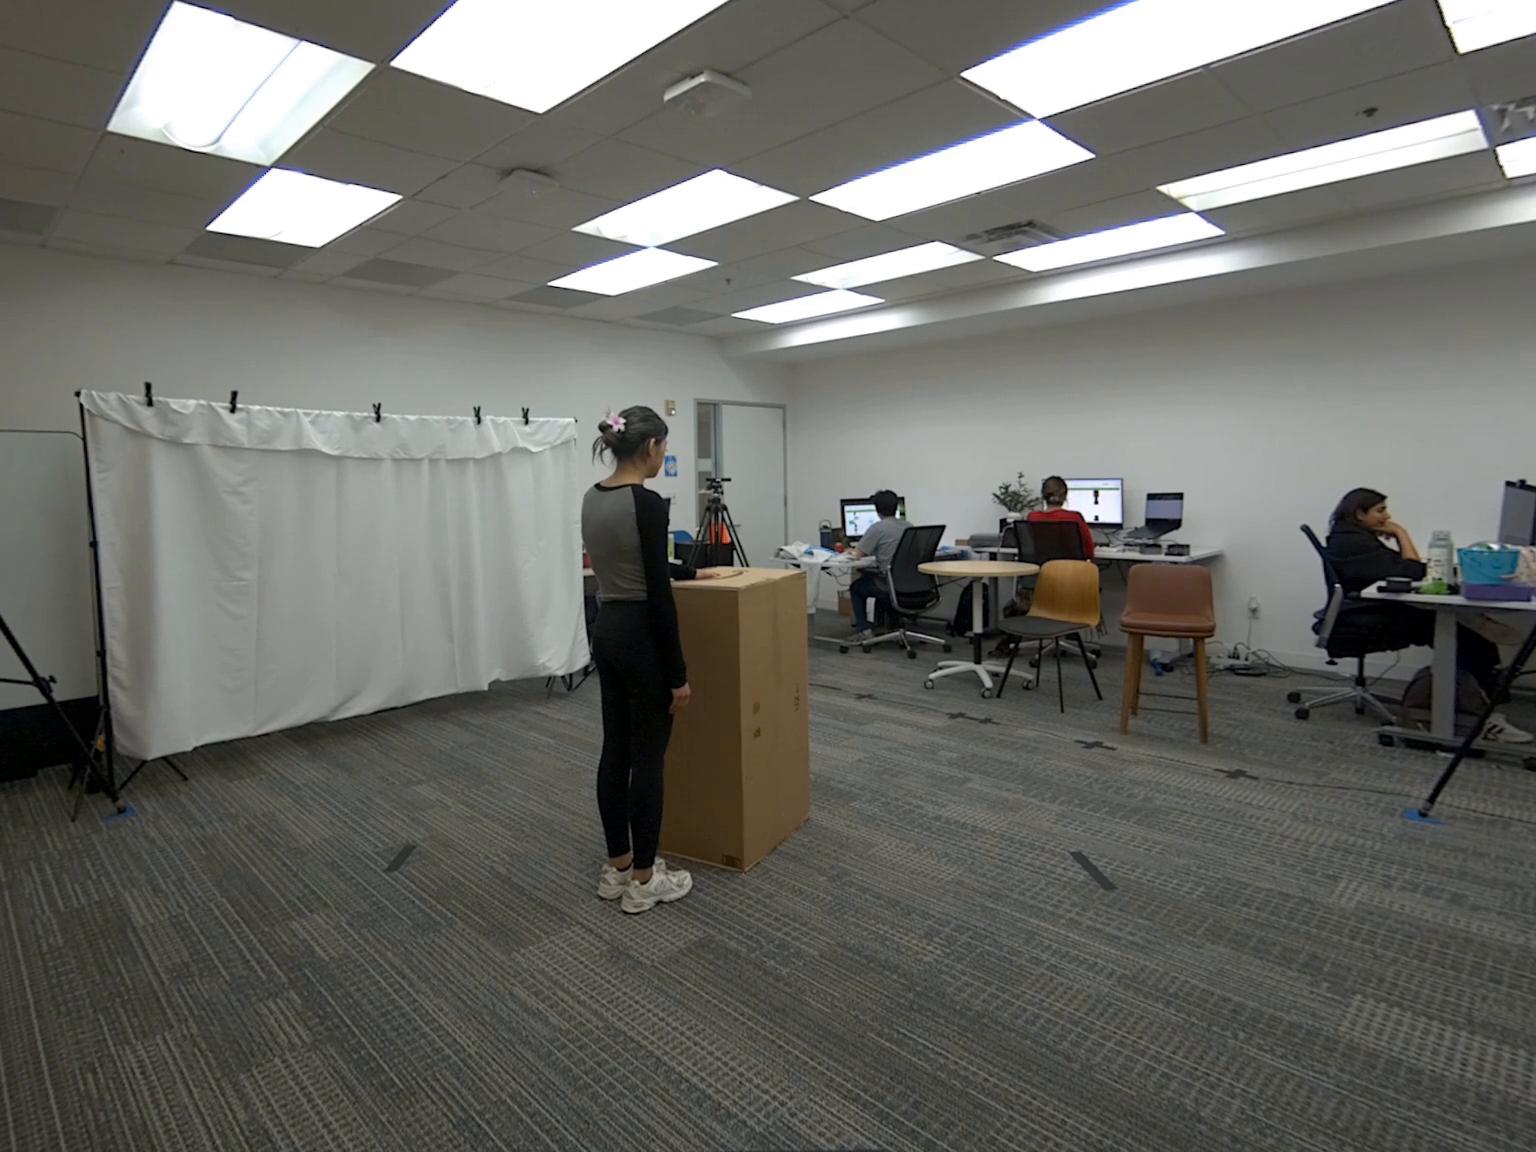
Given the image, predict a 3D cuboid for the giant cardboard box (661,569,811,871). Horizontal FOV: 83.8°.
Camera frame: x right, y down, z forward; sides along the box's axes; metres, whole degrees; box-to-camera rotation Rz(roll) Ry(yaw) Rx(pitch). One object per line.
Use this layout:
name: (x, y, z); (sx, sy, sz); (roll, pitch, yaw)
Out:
giant cardboard box: (-0.149, 0.511, 3.342); (0.458, 1.023, 0.572); (2, 5, 27)
